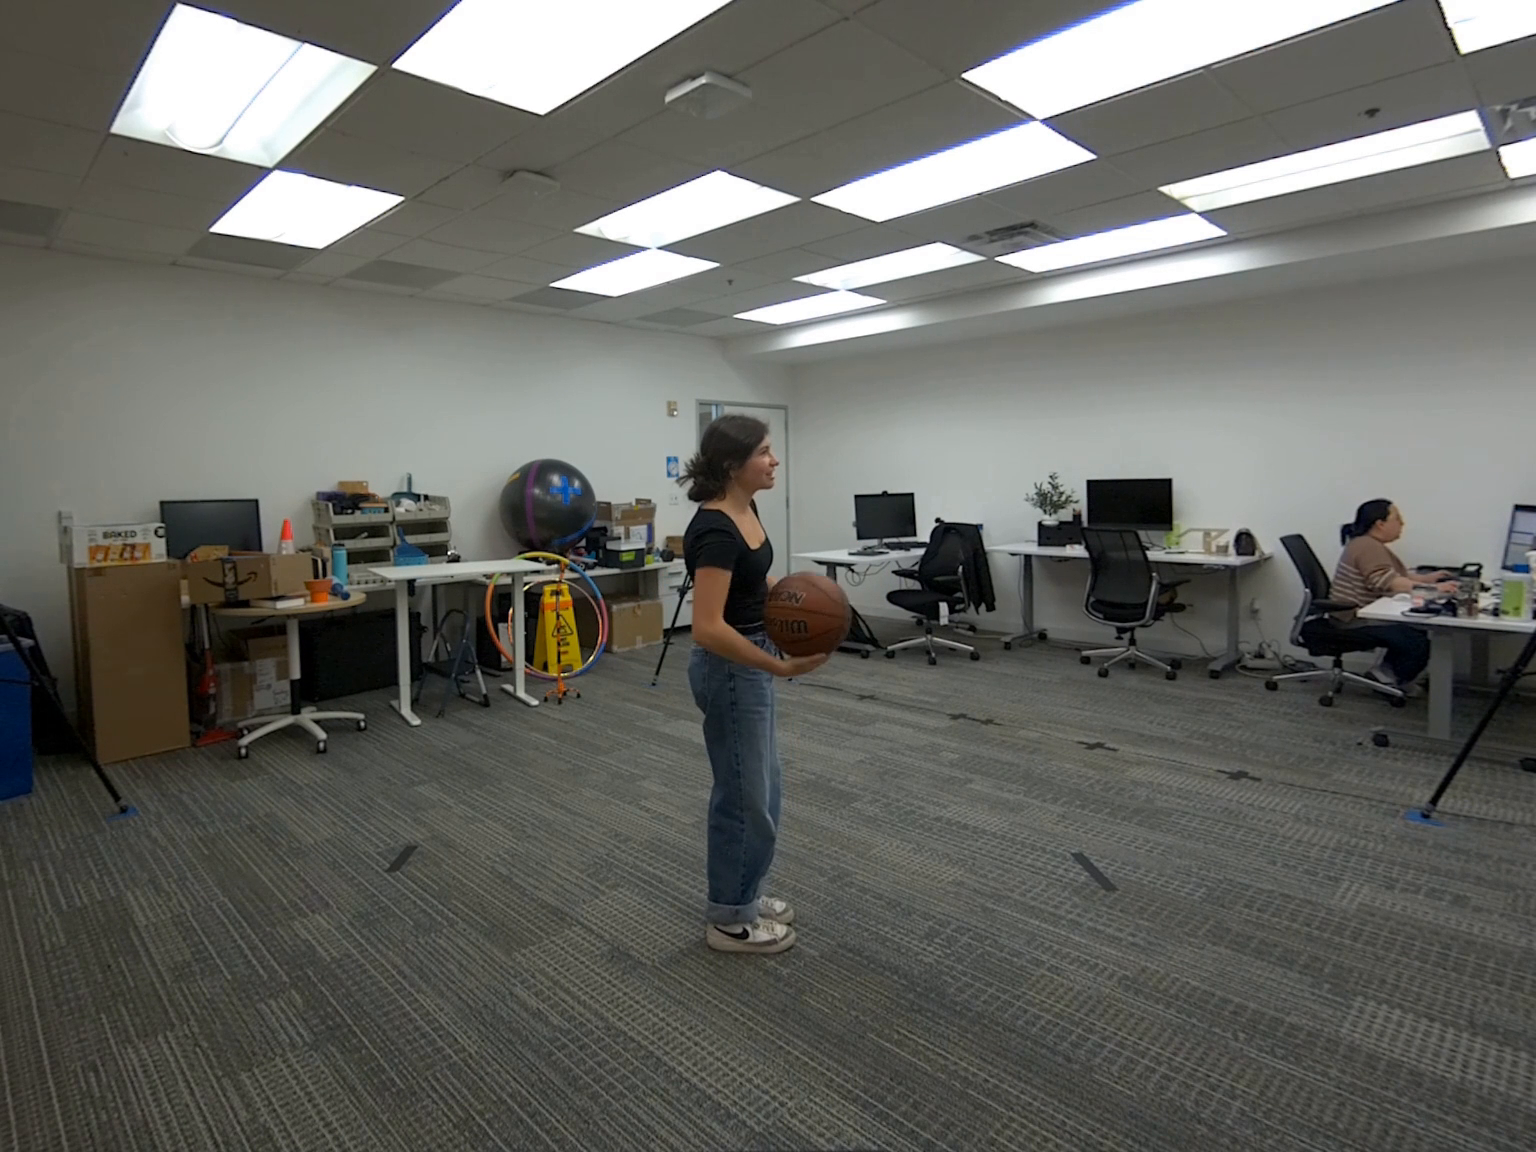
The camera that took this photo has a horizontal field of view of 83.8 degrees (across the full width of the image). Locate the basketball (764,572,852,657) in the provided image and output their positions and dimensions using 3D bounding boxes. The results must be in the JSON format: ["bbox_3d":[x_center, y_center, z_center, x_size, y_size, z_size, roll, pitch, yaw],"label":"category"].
[{"bbox_3d":[0.093,0.109,2.327,0.236,0.235,0.237,-1,5,-2],"label":"basketball"}]
